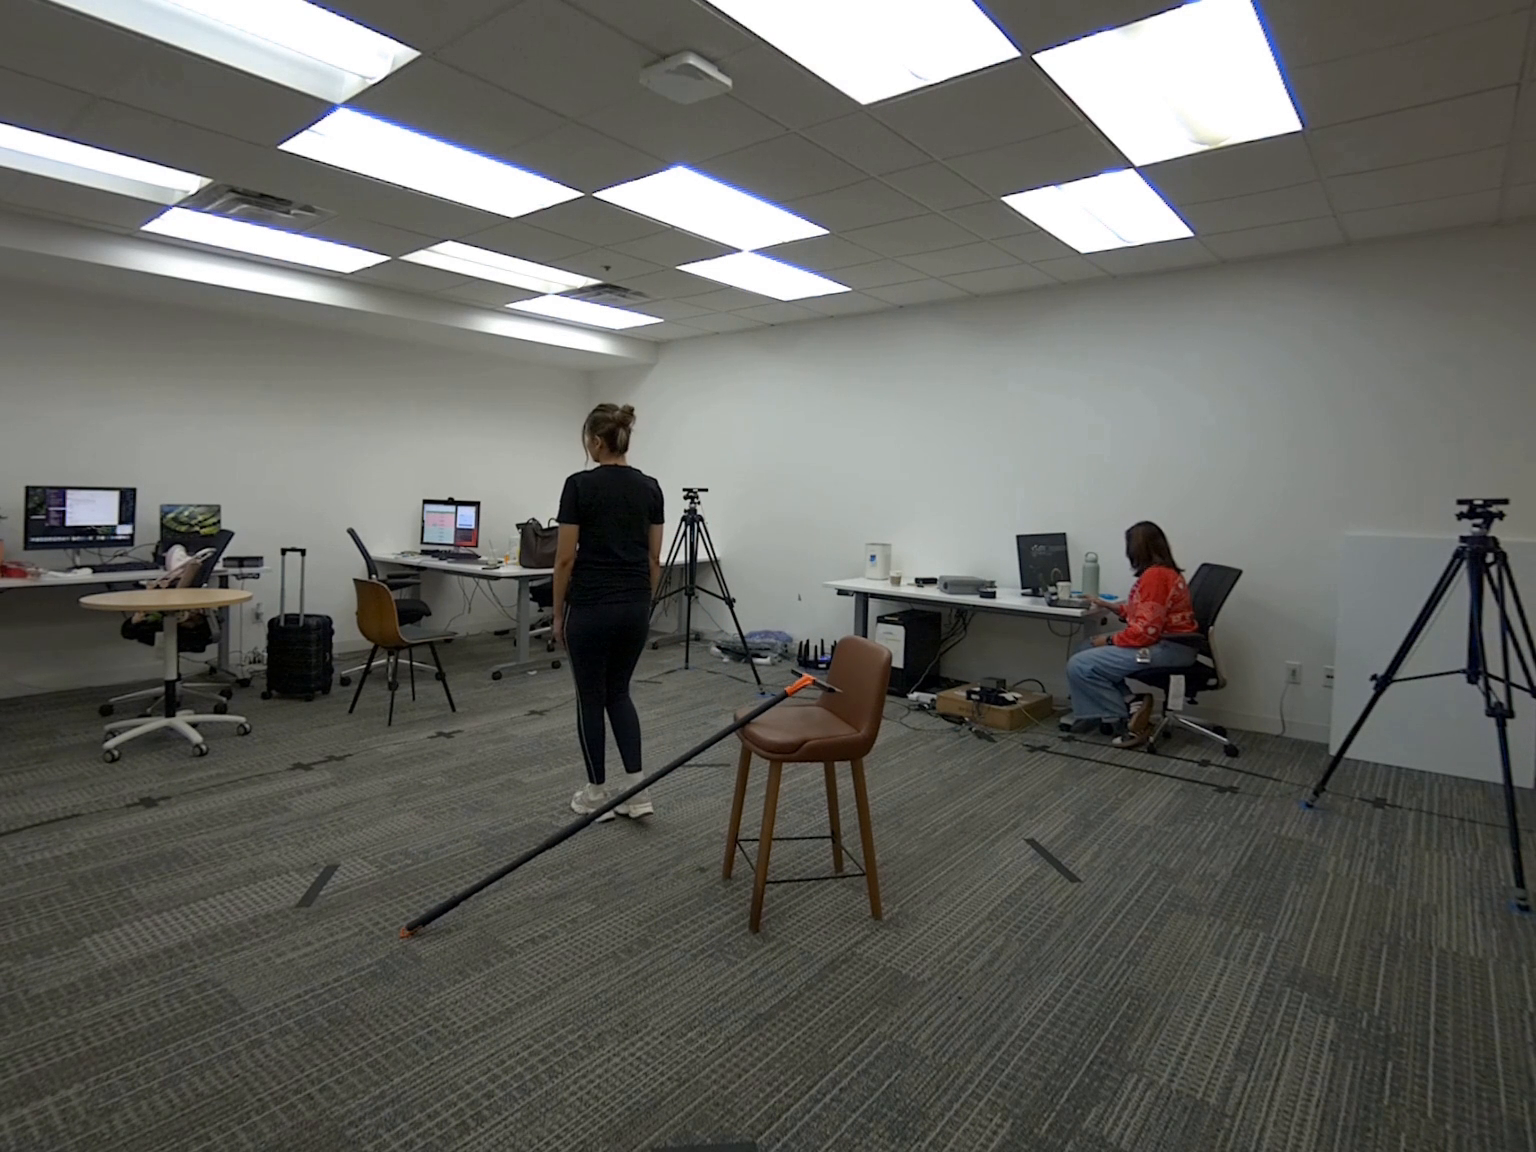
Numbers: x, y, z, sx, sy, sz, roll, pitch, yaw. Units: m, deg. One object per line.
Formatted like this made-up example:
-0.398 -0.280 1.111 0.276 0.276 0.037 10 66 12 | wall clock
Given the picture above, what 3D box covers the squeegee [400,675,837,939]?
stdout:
-0.479 0.706 2.755 1.529 0.053 0.435 -30 -6 -11 | squeegee
